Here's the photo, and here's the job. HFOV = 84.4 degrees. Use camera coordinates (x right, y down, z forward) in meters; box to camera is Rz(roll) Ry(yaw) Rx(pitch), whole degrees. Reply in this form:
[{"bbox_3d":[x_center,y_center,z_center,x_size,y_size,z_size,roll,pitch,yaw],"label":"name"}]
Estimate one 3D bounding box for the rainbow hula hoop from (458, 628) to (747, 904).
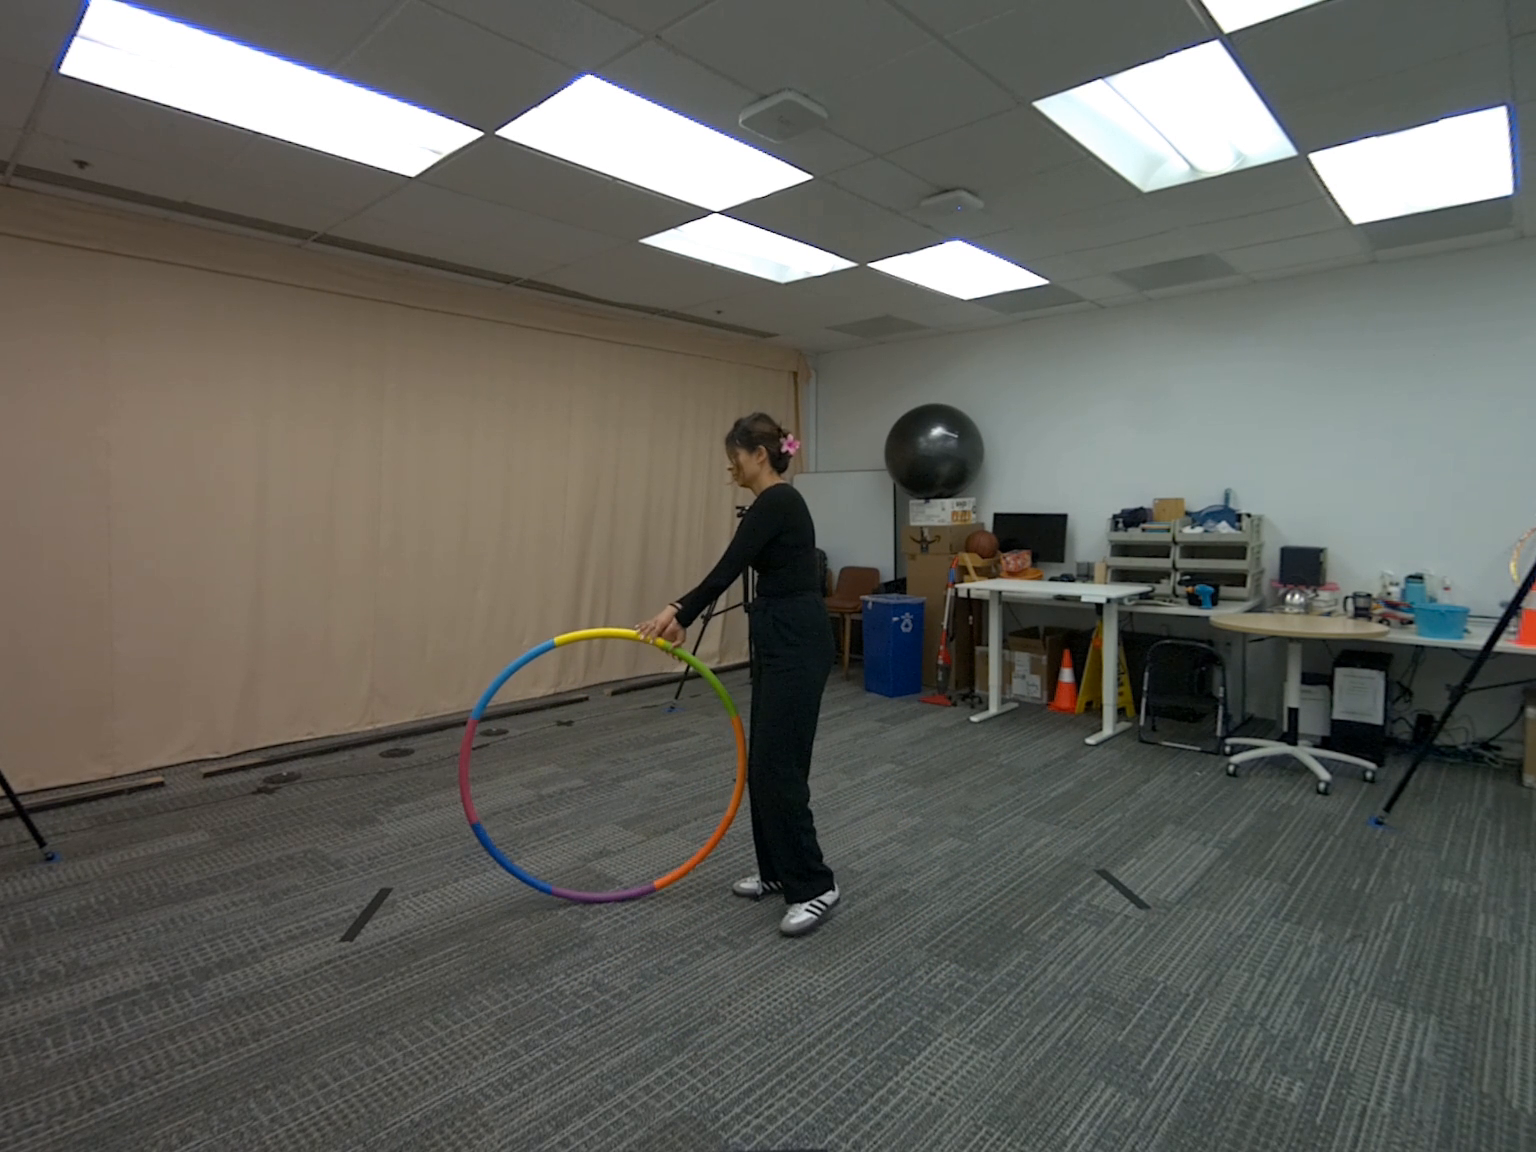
[{"bbox_3d":[-0.553,0.672,2.916,0.969,0.974,0.036,0,6,-9],"label":"rainbow hula hoop"}]
